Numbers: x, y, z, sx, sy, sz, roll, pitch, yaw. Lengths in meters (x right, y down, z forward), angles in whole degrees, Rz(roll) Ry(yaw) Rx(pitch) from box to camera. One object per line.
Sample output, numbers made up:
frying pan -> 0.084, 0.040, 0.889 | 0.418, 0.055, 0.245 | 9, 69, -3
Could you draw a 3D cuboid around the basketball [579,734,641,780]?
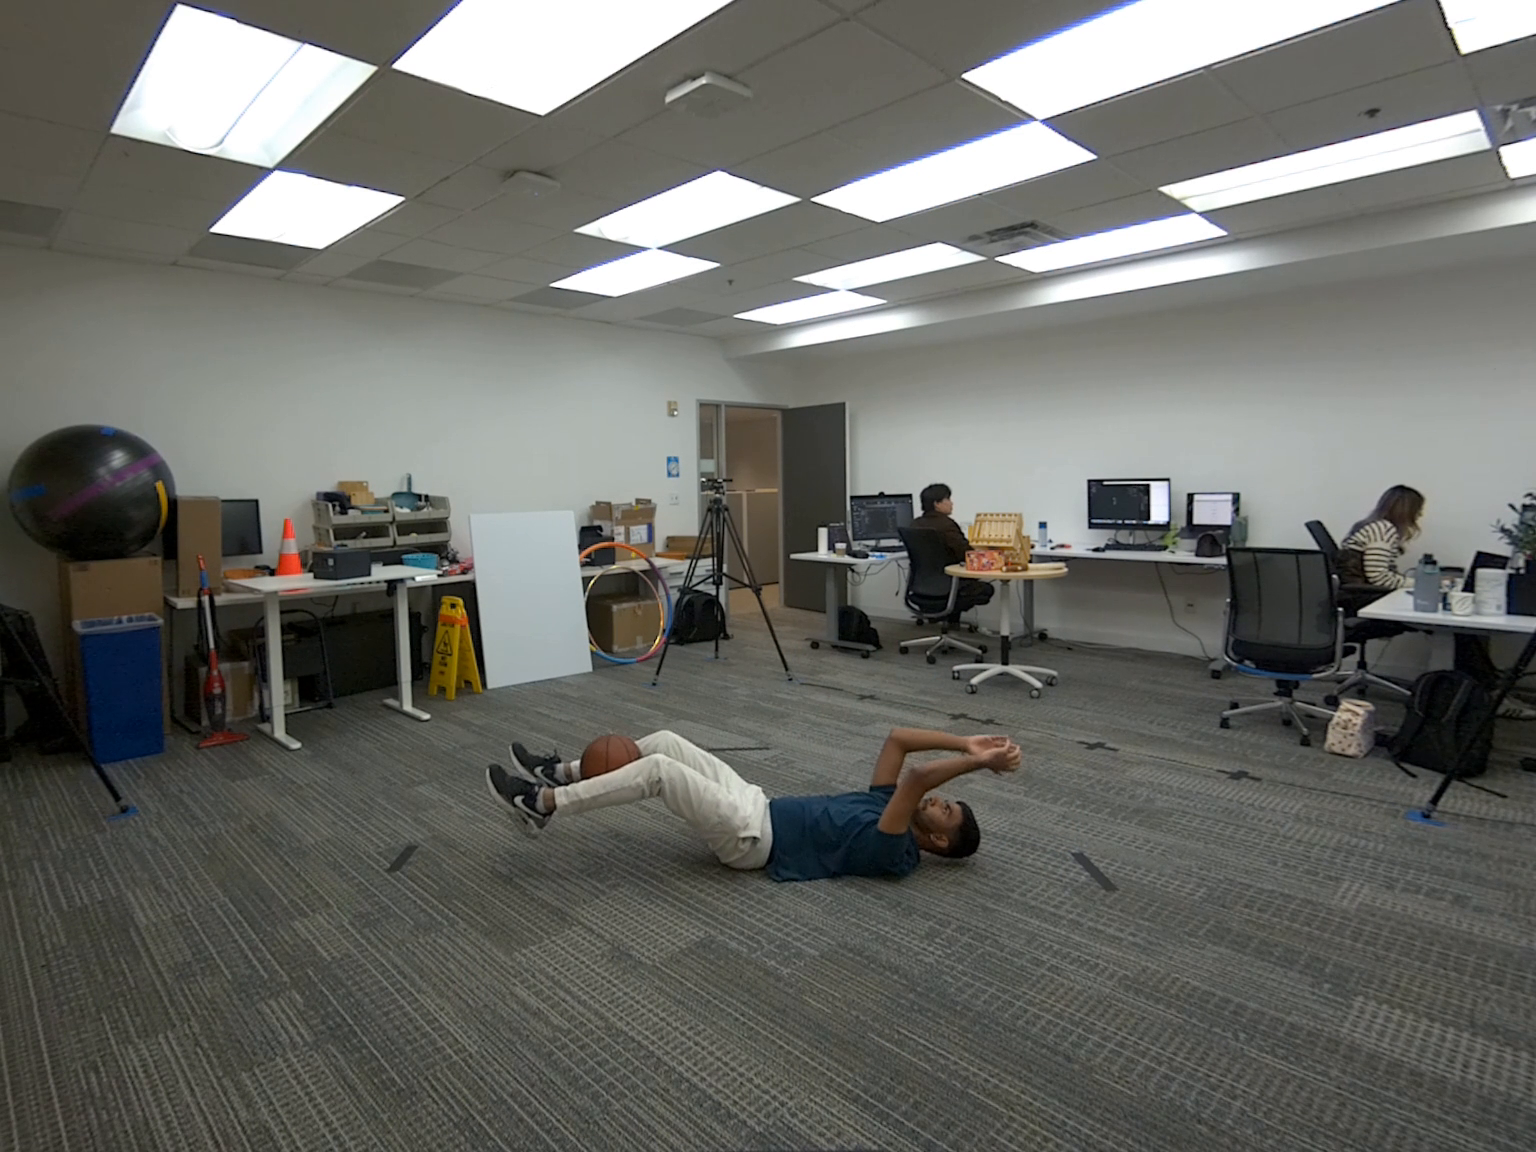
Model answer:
basketball -> -0.575, 0.703, 3.166 | 0.236, 0.235, 0.237 | -1, 5, -2
